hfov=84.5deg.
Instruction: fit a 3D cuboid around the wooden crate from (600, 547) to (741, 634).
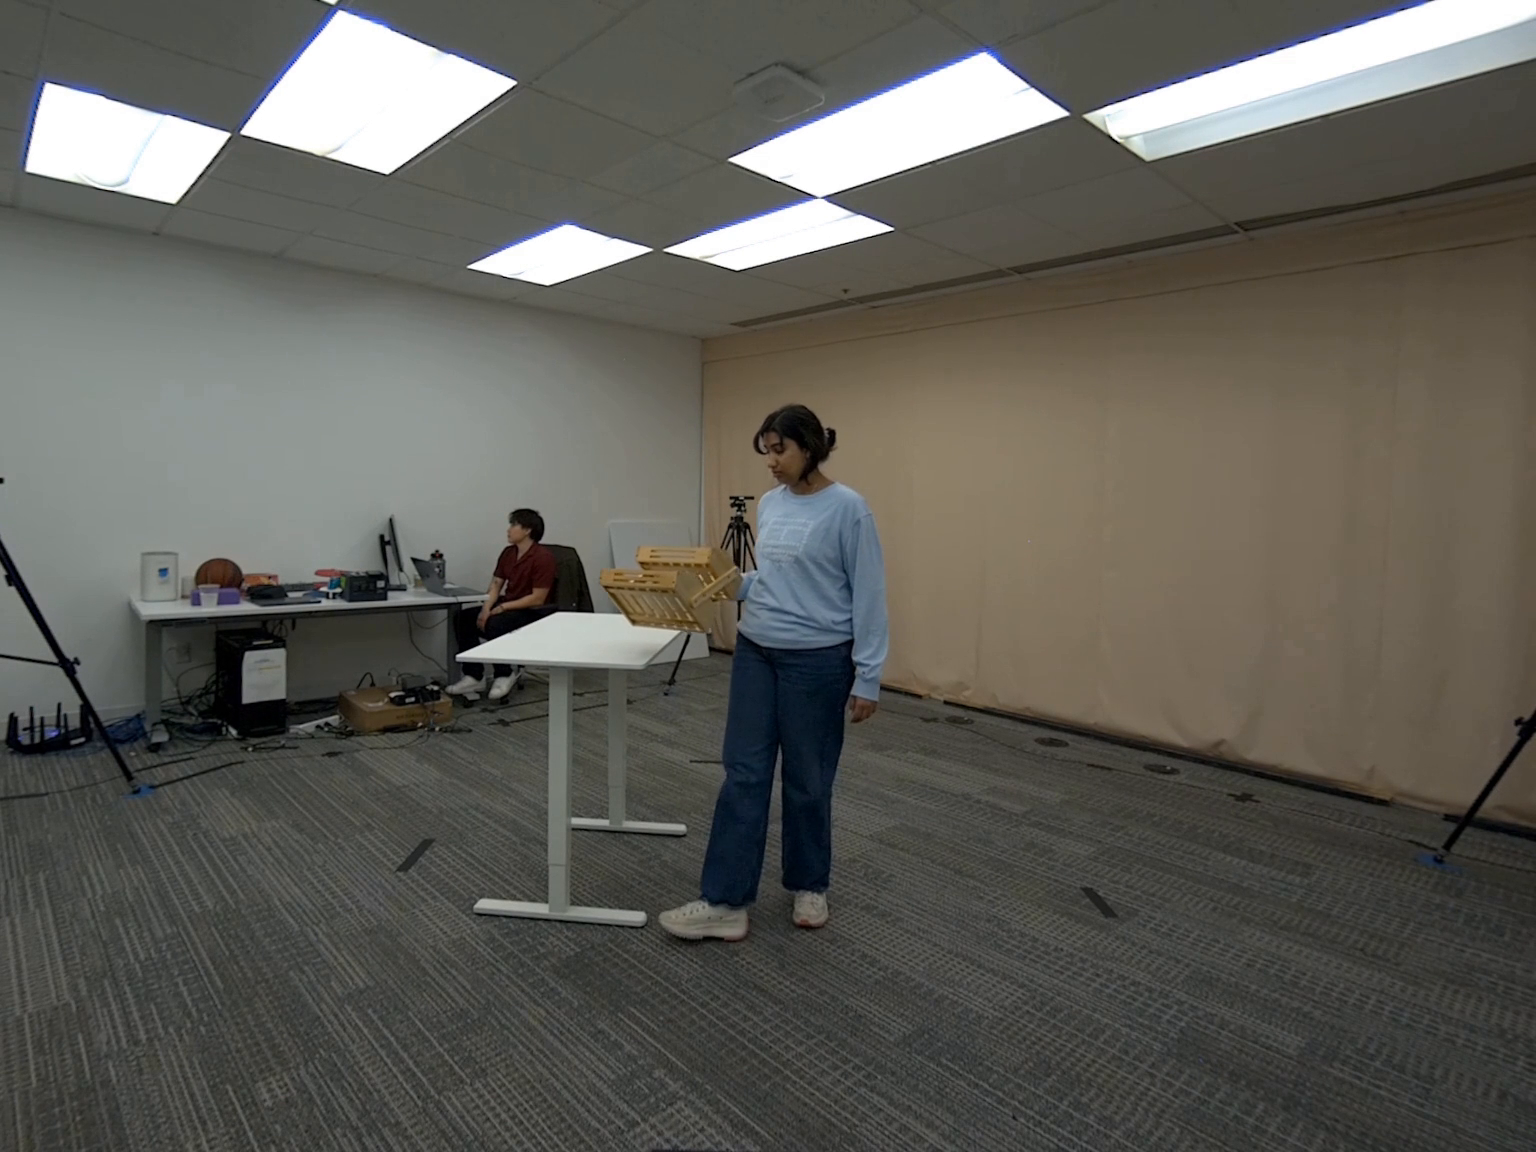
[{"bbox_3d":[-0.317,0.005,2.717,0.332,0.275,0.293,2,-39,32],"label":"wooden crate"}]
